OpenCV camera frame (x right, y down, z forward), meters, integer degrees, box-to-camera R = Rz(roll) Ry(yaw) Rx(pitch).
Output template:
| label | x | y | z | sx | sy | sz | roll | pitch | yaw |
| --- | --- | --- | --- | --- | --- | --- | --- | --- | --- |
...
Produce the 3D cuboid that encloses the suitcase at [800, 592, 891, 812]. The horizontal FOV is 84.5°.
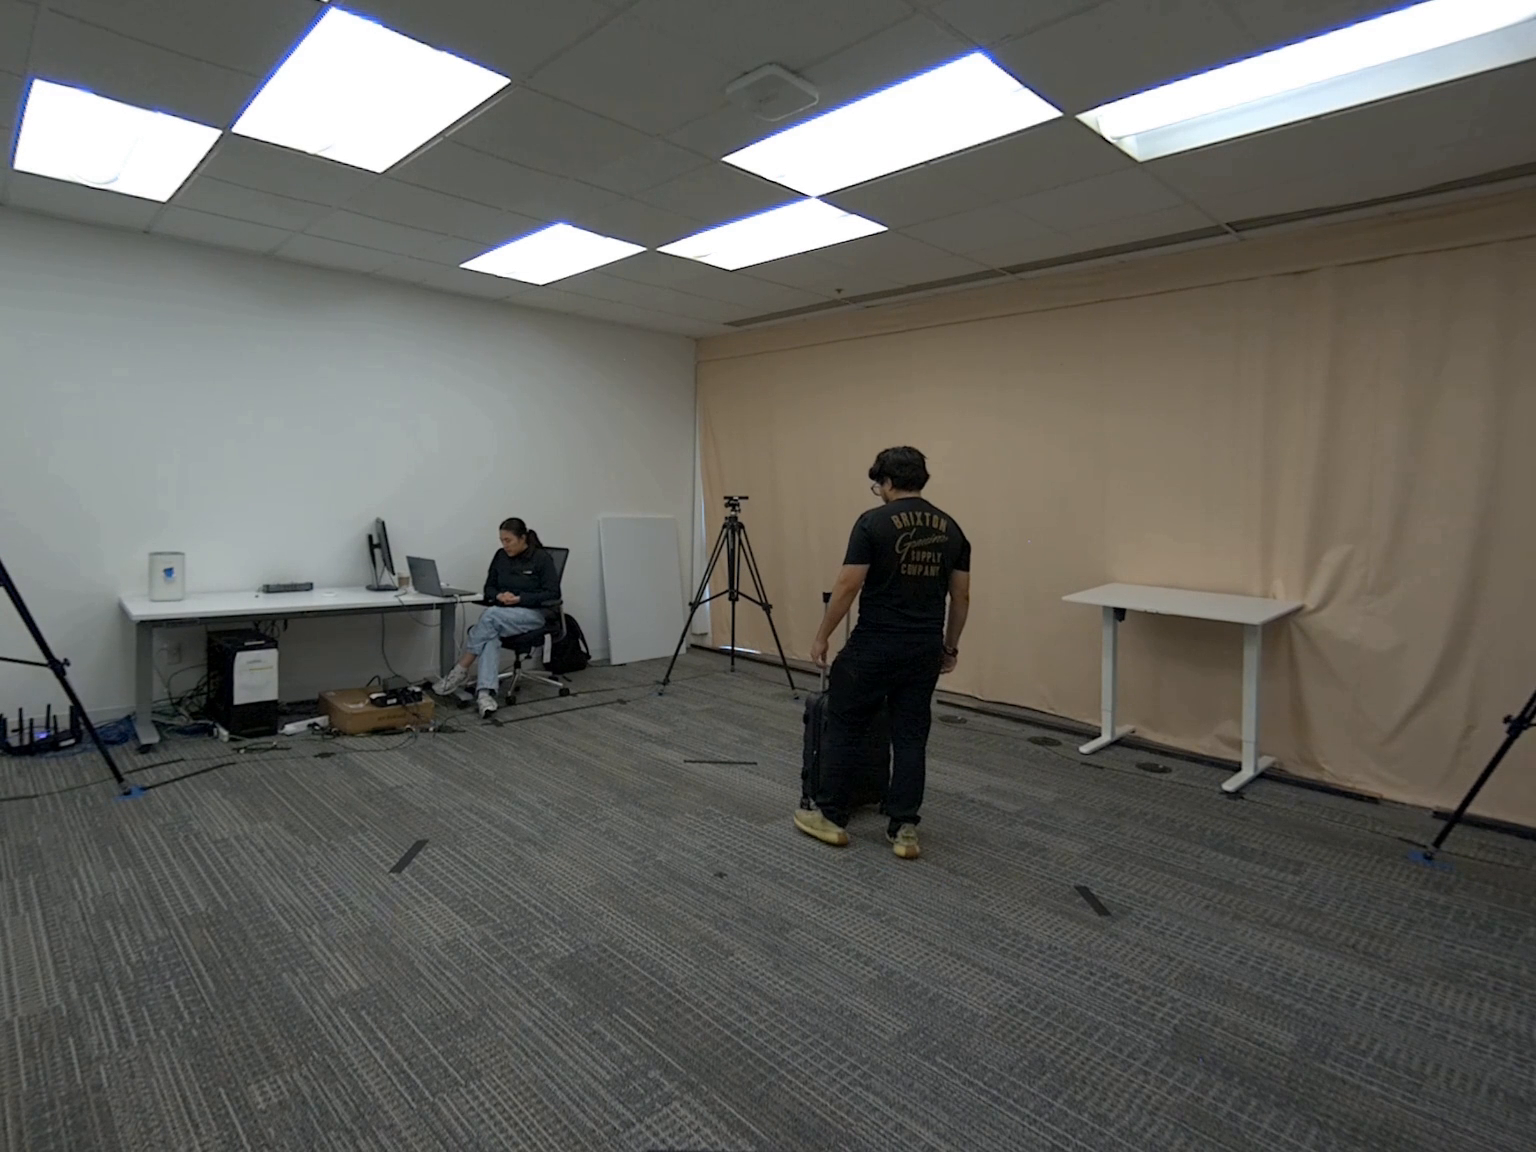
| label | x | y | z | sx | sy | sz | roll | pitch | yaw |
| --- | --- | --- | --- | --- | --- | --- | --- | --- | --- |
| suitcase | 0.355 | 0.577 | 3.791 | 0.376 | 0.976 | 0.263 | -1 | 4 | -35 |
